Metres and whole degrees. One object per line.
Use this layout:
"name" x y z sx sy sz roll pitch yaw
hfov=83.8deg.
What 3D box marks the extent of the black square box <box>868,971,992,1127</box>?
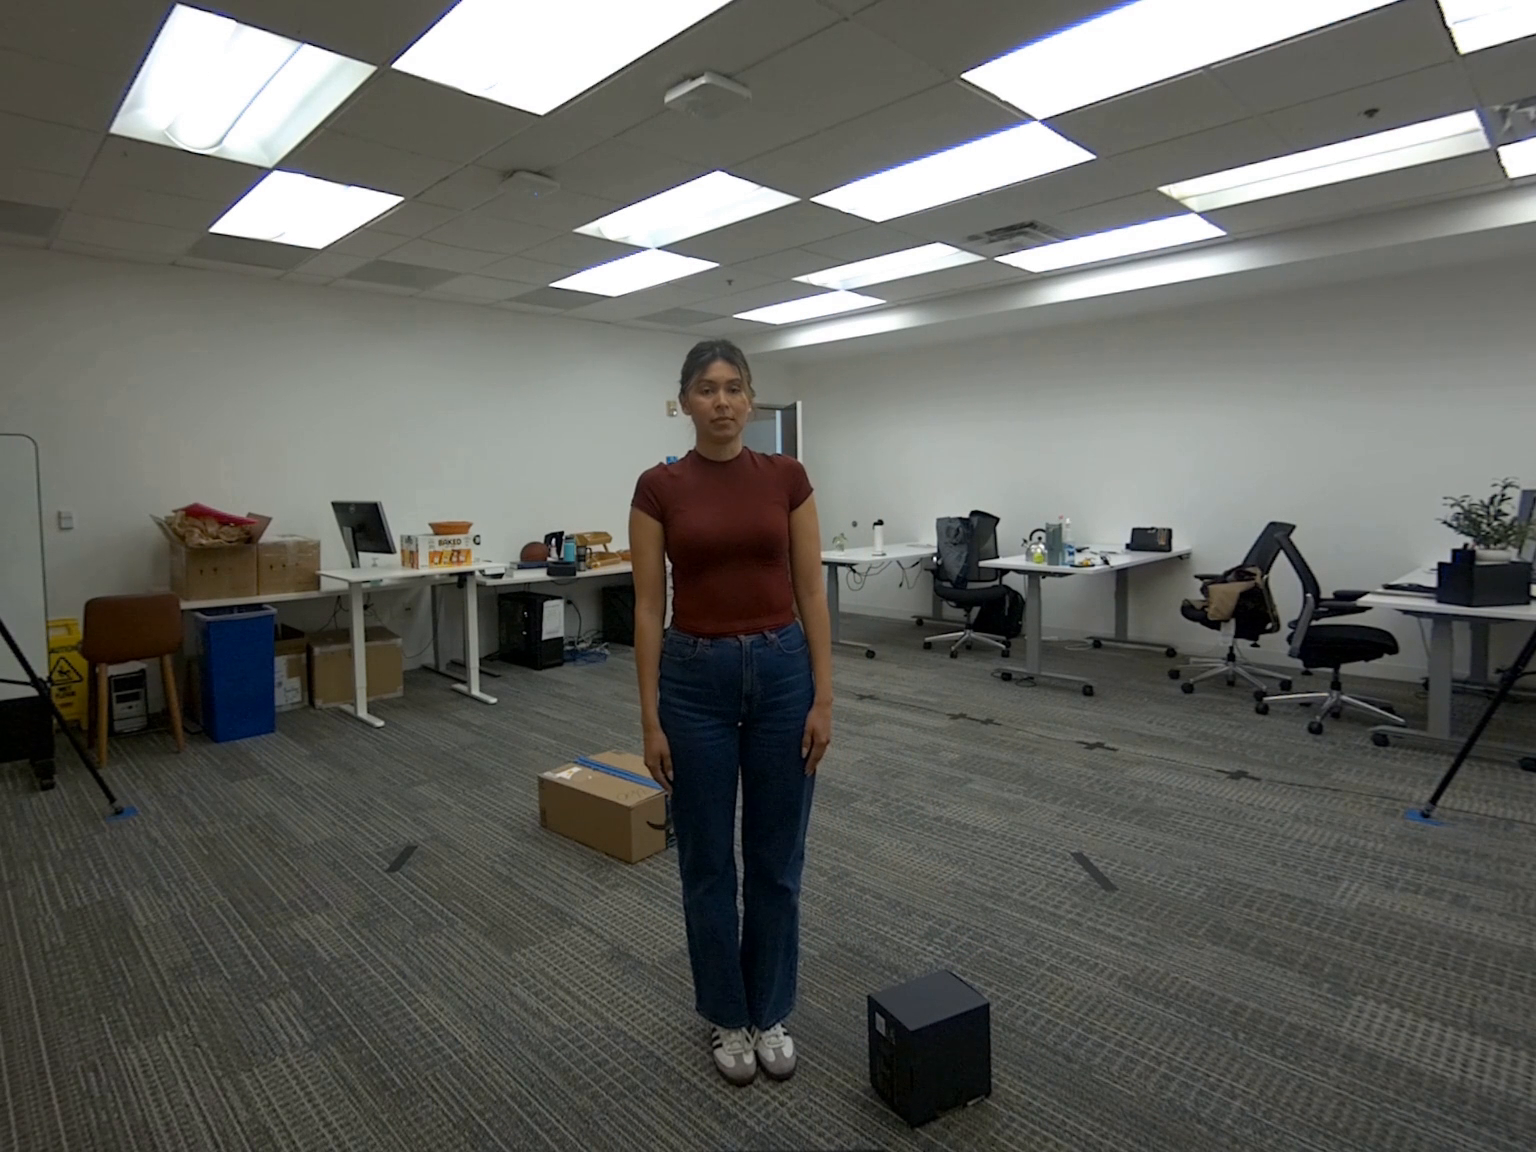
"black square box" 0.371 1.054 1.942 0.223 0.216 0.160 -3 3 -27
